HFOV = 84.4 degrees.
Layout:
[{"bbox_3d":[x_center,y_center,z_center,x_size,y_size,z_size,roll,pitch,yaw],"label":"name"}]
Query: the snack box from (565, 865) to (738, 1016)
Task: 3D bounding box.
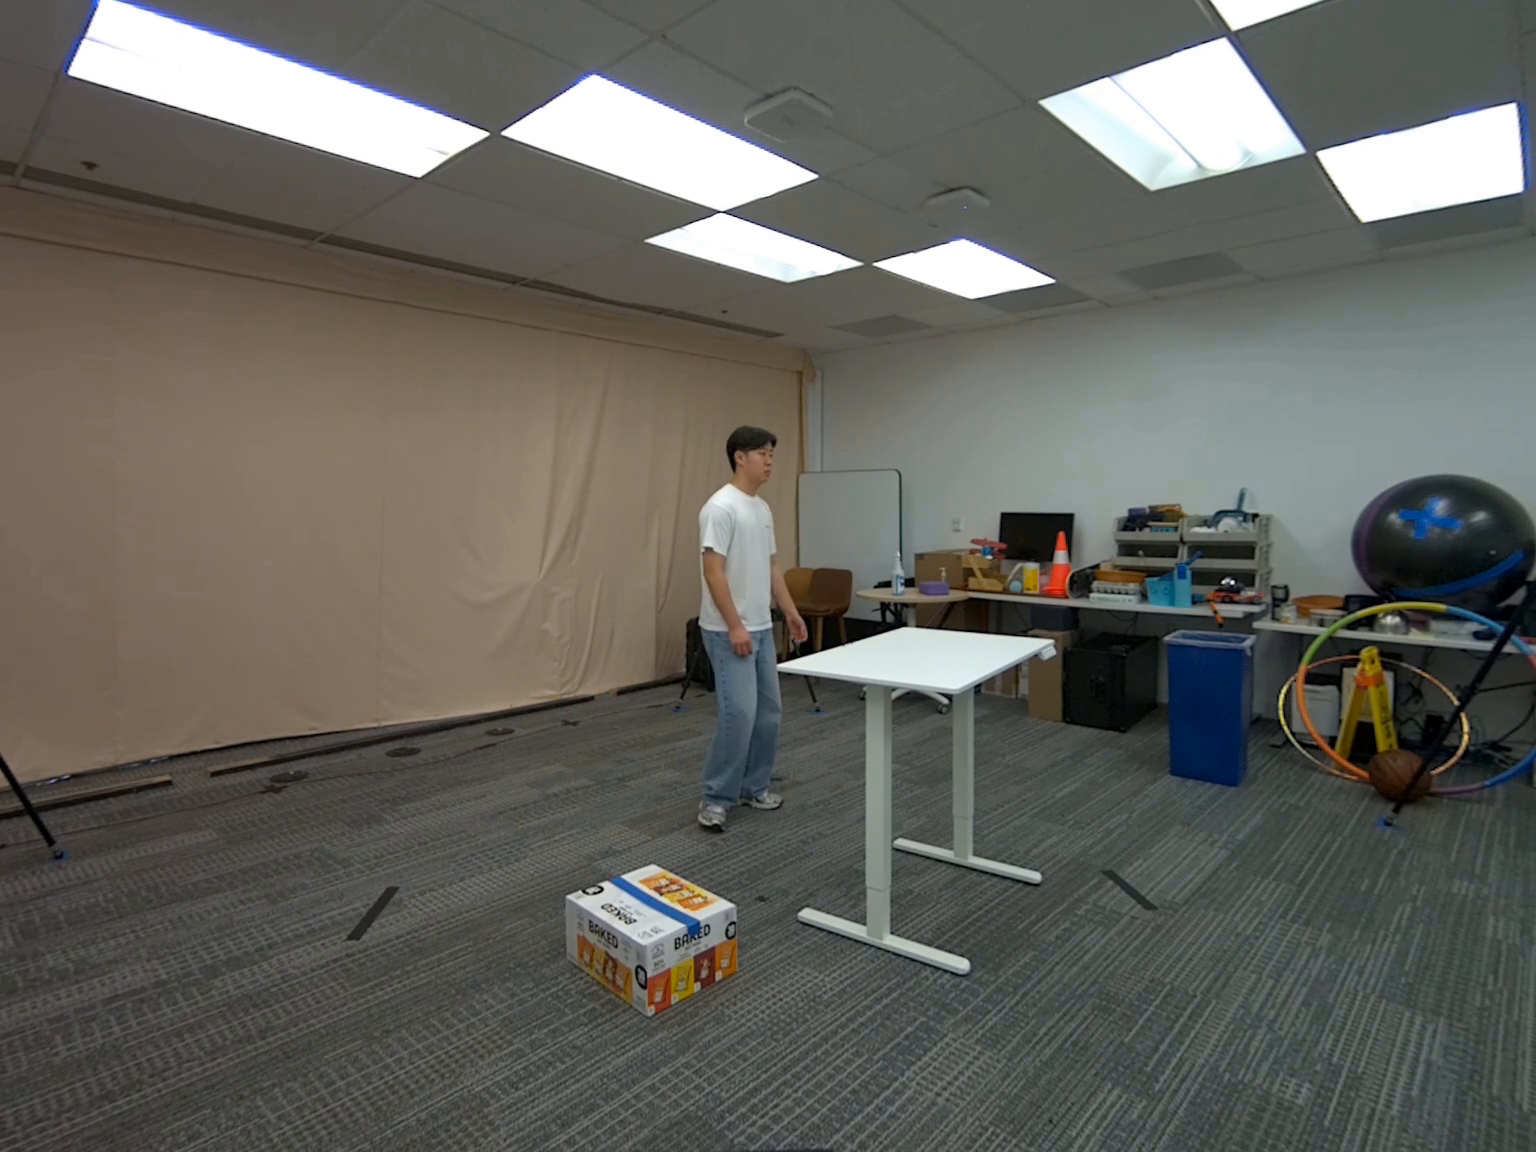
[{"bbox_3d":[-0.357,1.083,2.541,0.330,0.205,0.419,-4,6,-43],"label":"snack box"}]
